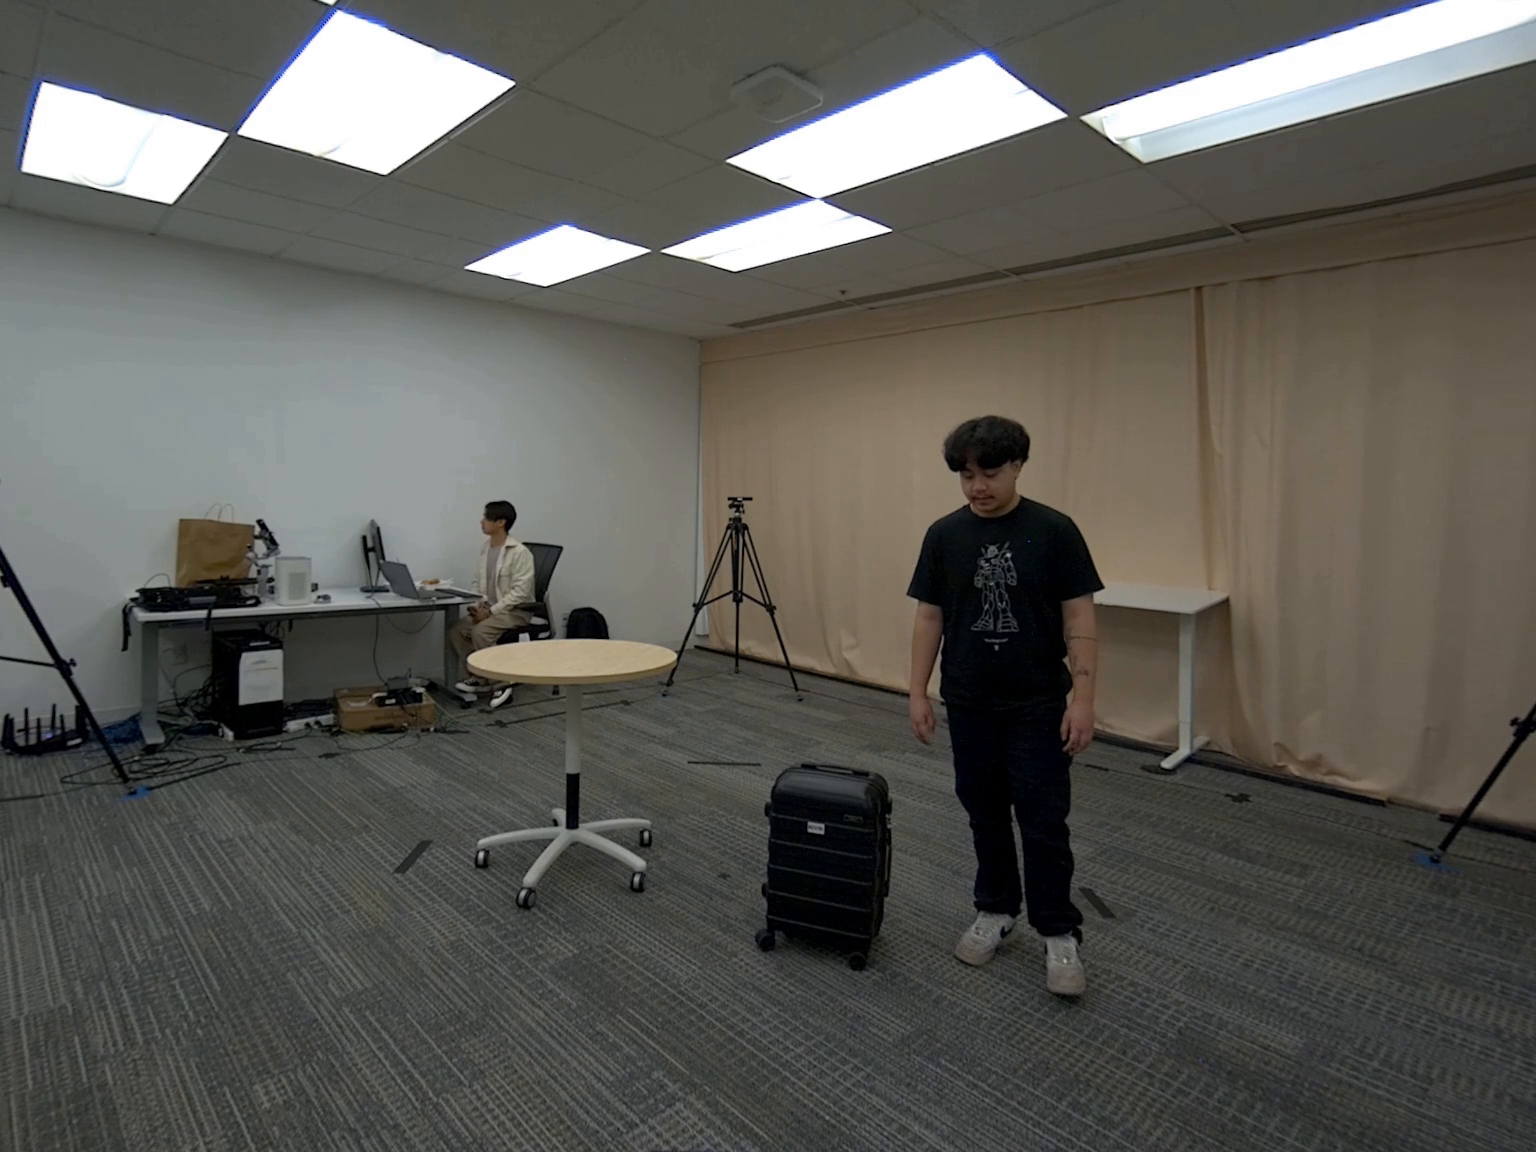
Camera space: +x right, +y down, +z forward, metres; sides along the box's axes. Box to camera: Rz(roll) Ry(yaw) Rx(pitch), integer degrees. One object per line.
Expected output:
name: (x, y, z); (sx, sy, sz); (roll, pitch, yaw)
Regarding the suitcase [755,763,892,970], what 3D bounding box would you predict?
suitcase: (0.185, 0.882, 2.645); (0.381, 0.548, 0.245); (3, 4, 19)
